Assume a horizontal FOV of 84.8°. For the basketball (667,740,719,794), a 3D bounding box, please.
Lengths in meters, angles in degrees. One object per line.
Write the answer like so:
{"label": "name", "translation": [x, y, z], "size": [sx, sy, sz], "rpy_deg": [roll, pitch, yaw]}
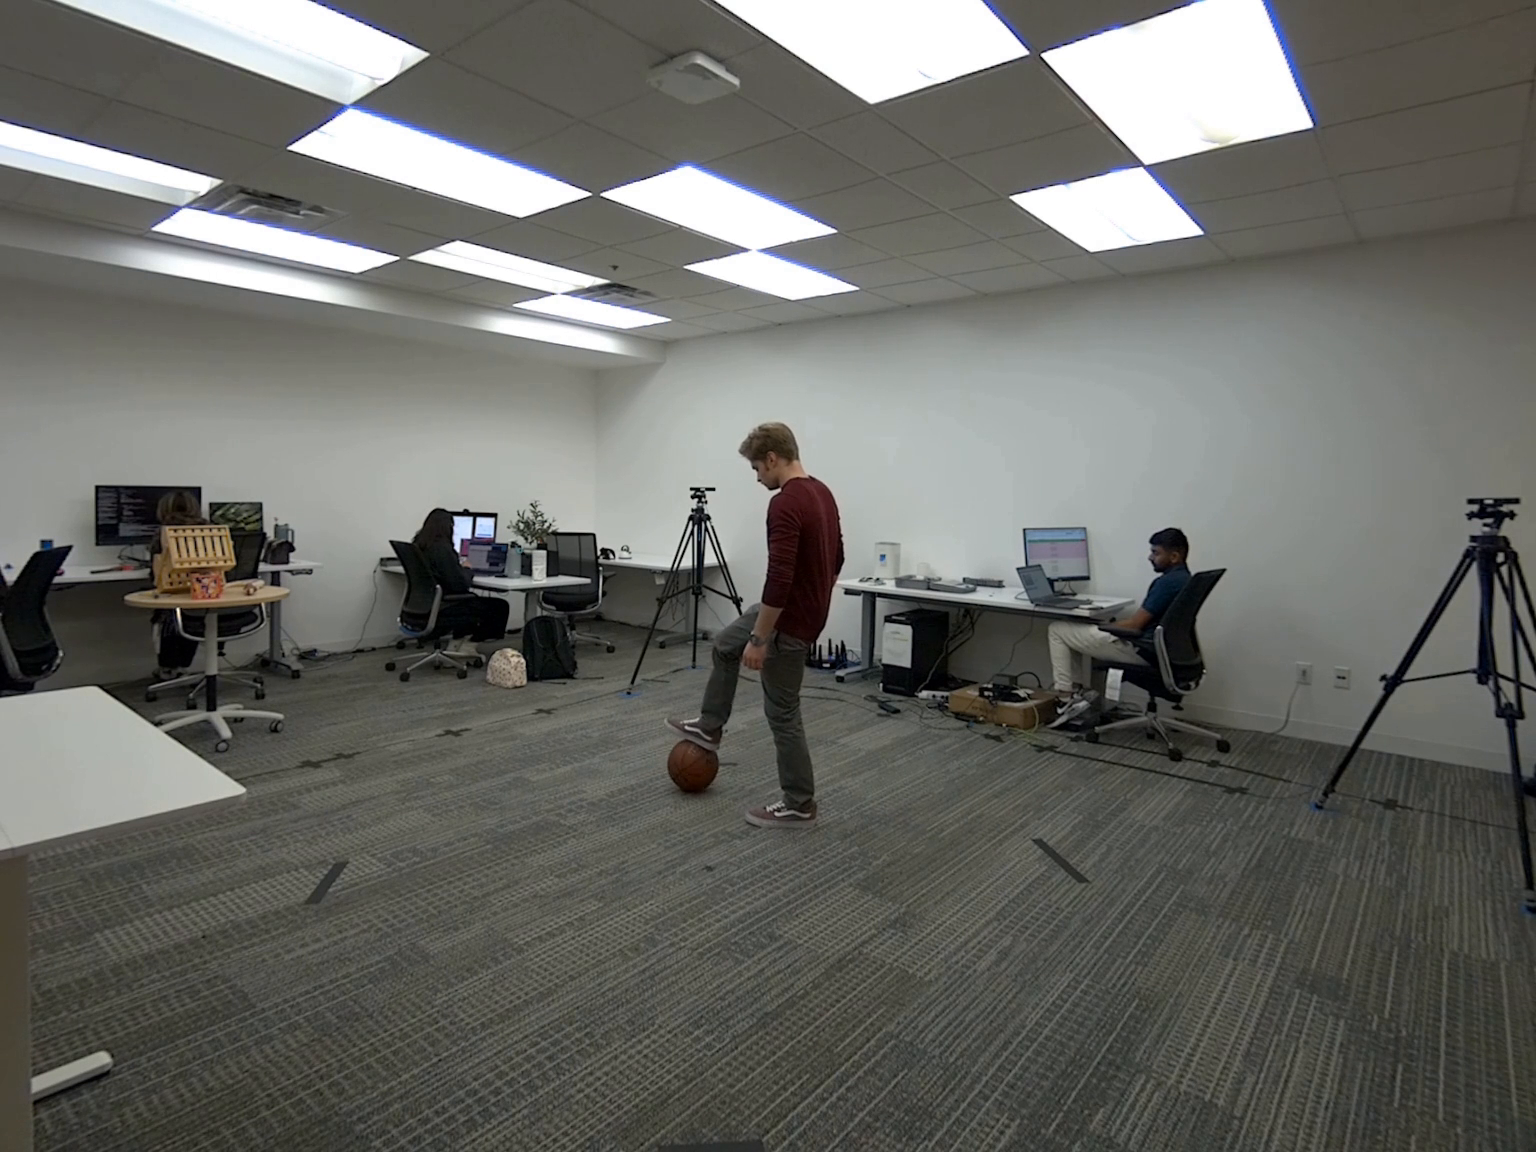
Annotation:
{"label": "basketball", "translation": [-0.356, 0.869, 3.930], "size": [0.235, 0.235, 0.237], "rpy_deg": [1, 4, -2]}
